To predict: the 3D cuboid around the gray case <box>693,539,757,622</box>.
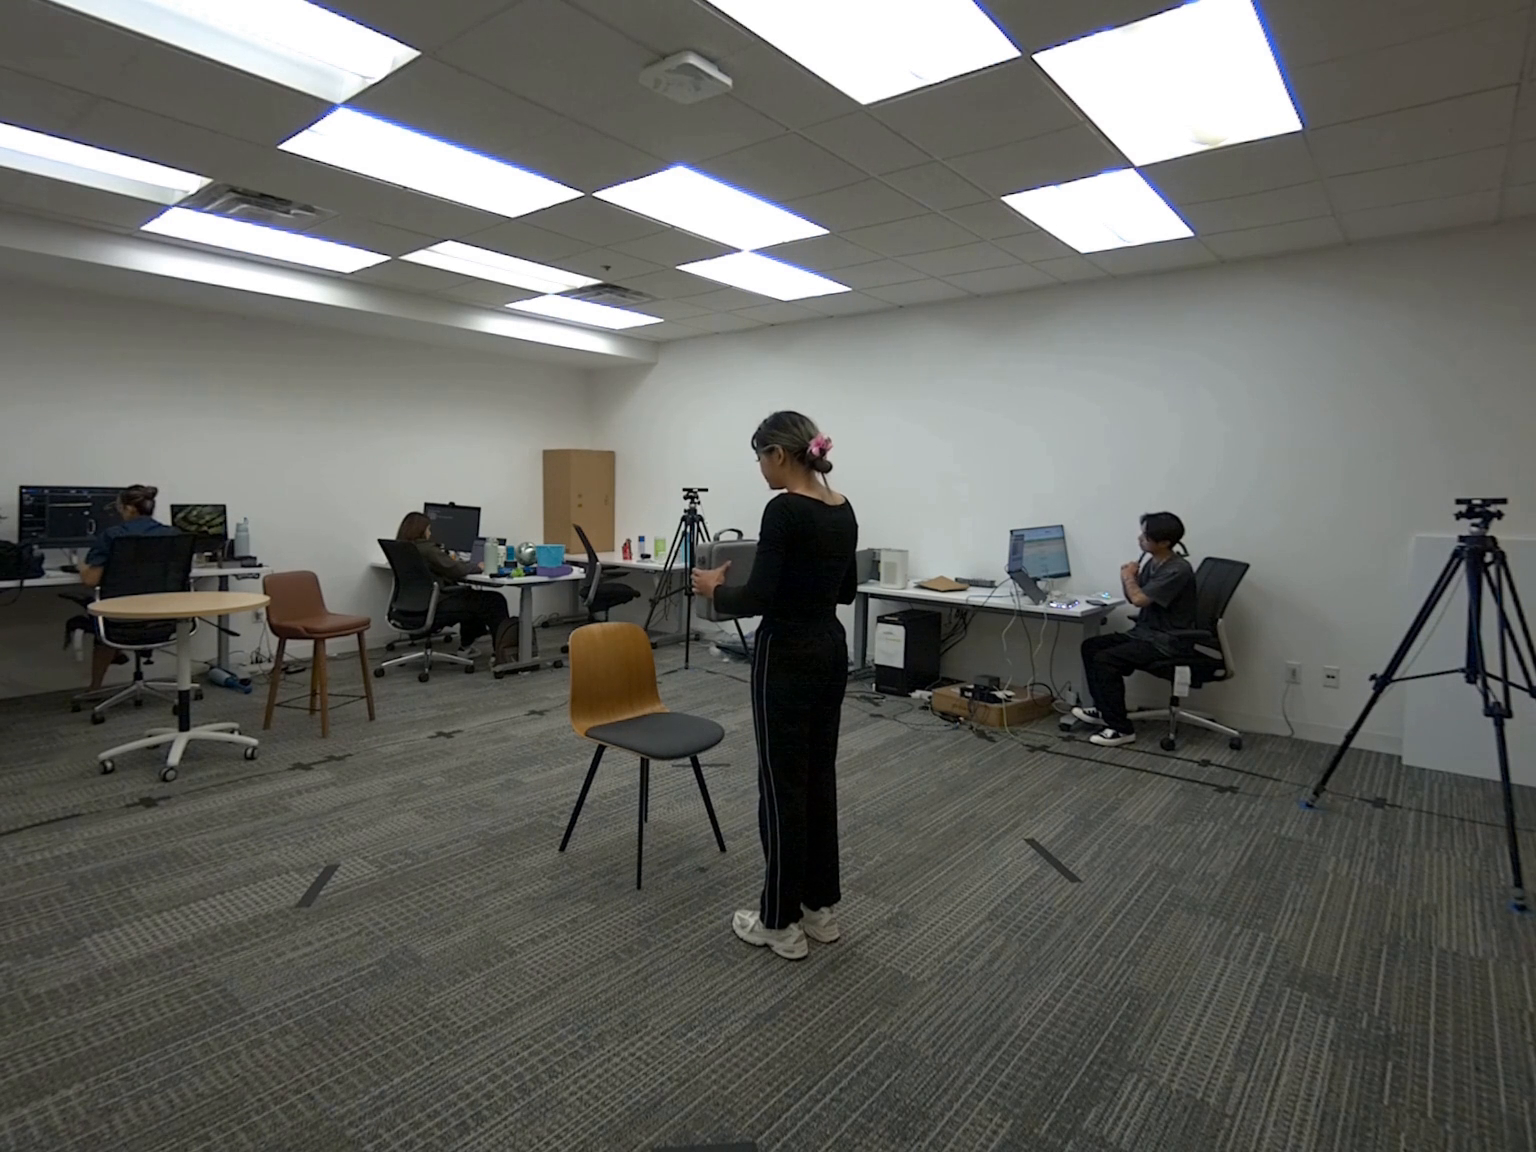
[{"bbox_3d":[-0.133,0.006,2.767,0.249,0.260,0.108,-3,4,-43],"label":"gray case"}]
